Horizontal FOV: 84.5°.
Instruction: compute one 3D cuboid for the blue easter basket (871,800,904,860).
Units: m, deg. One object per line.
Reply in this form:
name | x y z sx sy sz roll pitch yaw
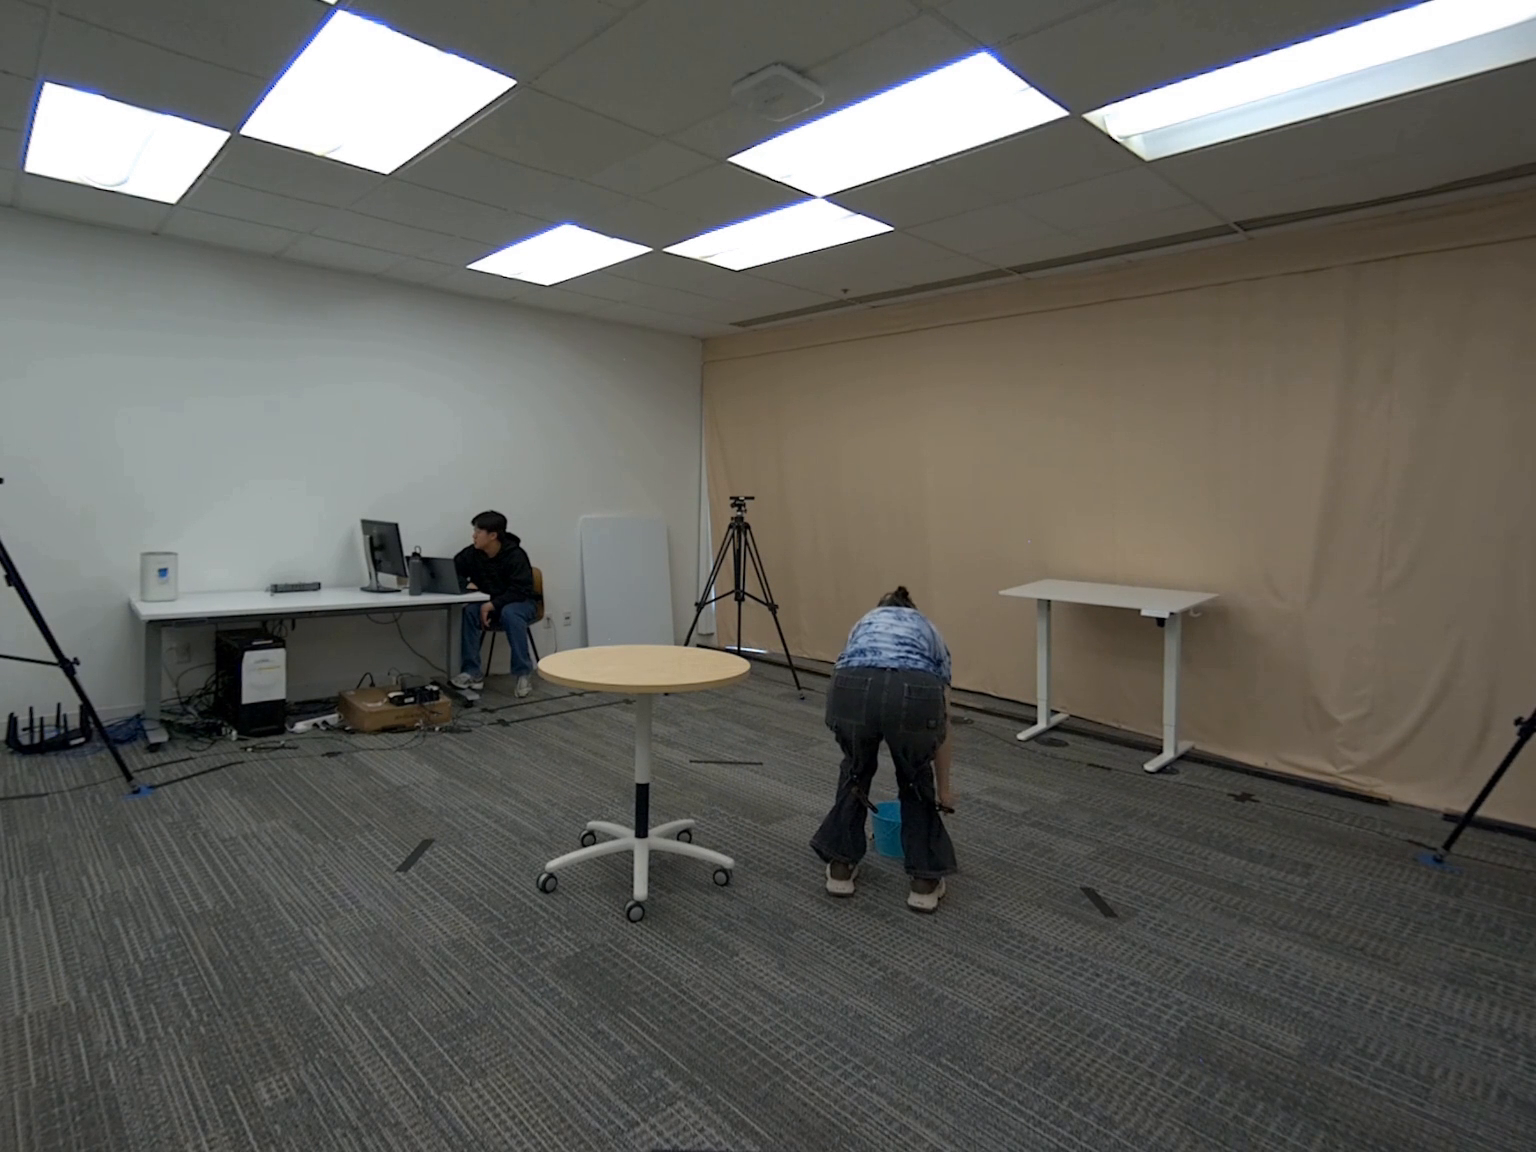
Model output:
blue easter basket | 0.511 1.019 3.387 0.243 0.155 0.244 2 5 -2
